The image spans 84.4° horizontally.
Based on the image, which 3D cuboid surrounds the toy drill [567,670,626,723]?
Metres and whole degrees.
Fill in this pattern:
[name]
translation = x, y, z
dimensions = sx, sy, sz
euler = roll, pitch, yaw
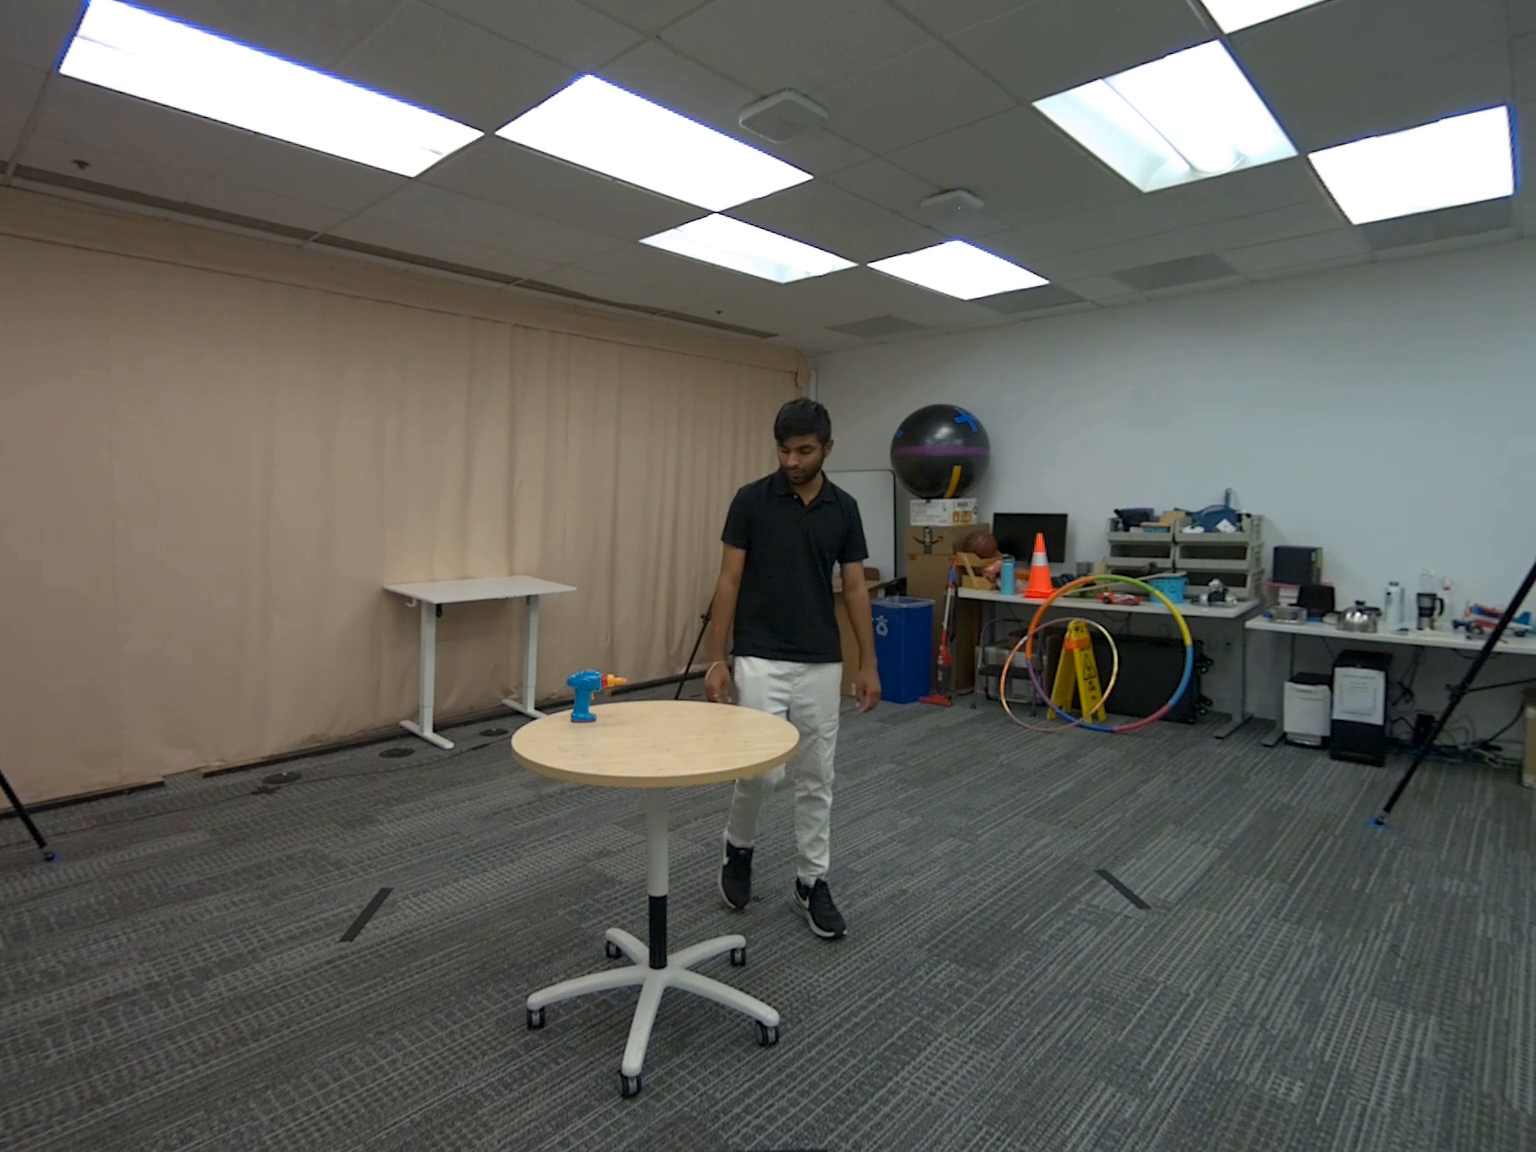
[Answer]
[toy drill]
translation = -0.481, 0.339, 2.398
dimensions = 0.168, 0.146, 0.062
euler = 0, 2, -10
